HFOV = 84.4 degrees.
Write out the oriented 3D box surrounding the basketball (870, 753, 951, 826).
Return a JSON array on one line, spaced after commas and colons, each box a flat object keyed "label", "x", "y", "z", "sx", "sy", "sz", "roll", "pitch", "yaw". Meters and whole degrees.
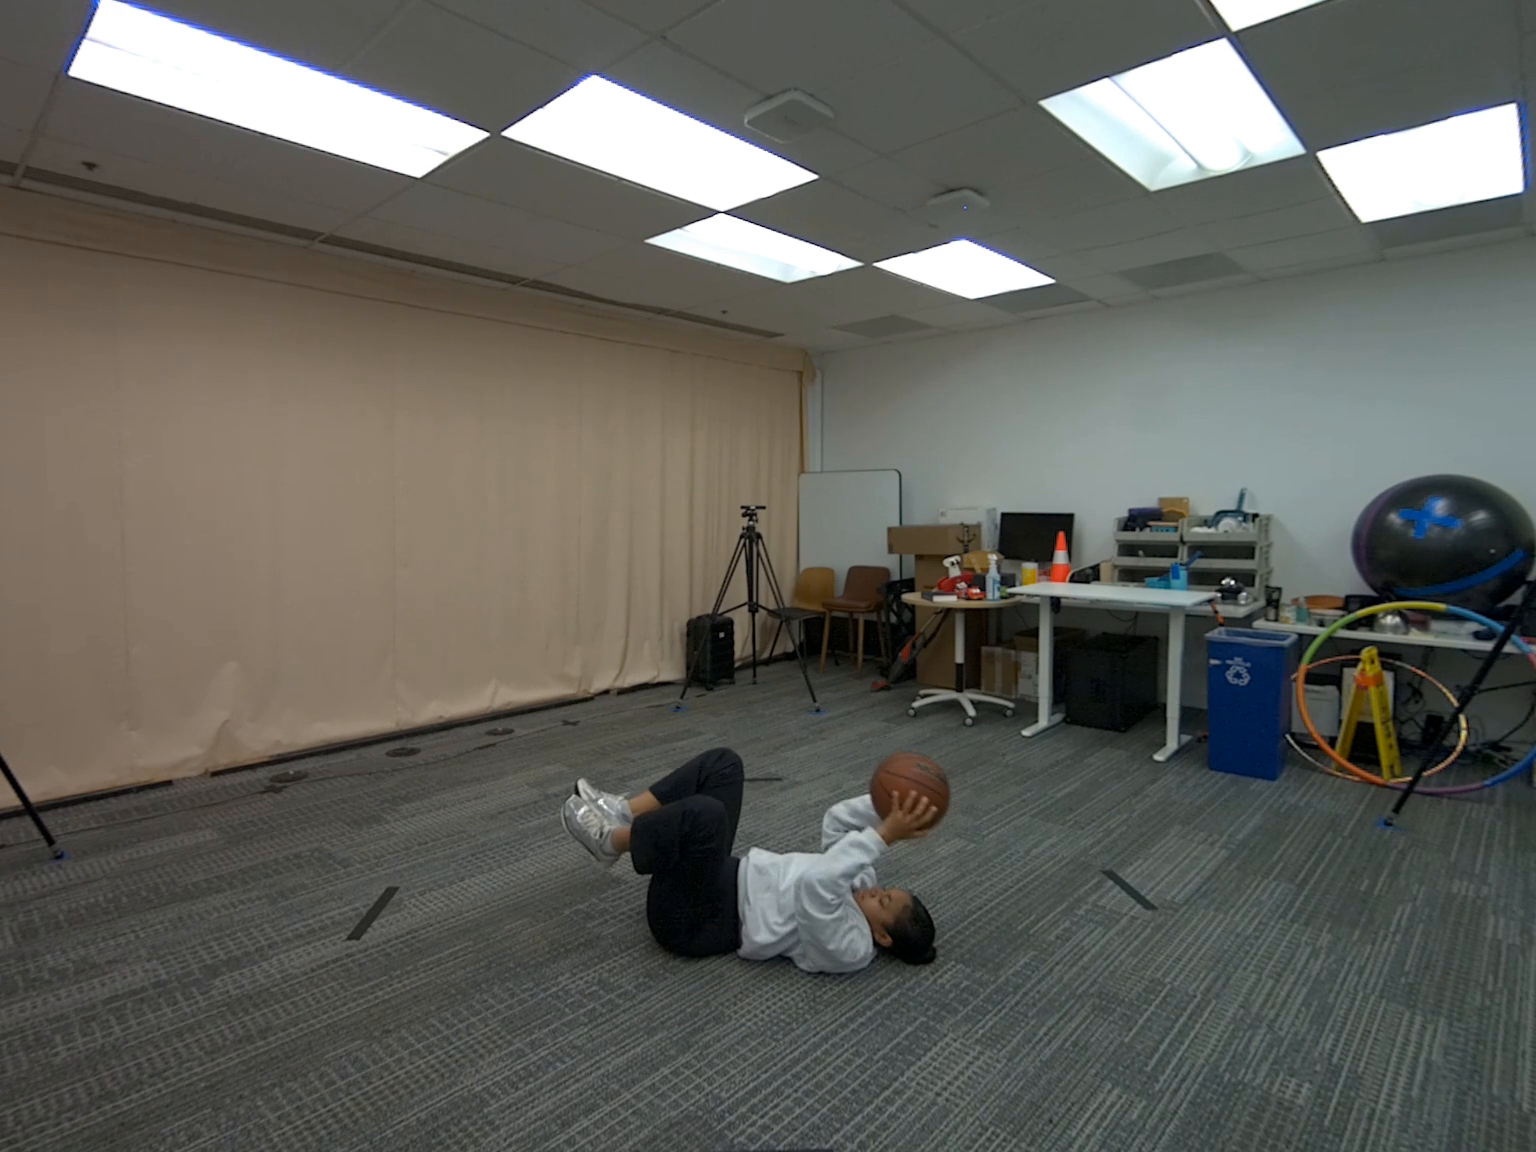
[{"label": "basketball", "x": 0.416, "y": 0.665, "z": 2.545, "sx": 0.236, "sy": 0.236, "sz": 0.236, "roll": 2, "pitch": 0, "yaw": -2}]
